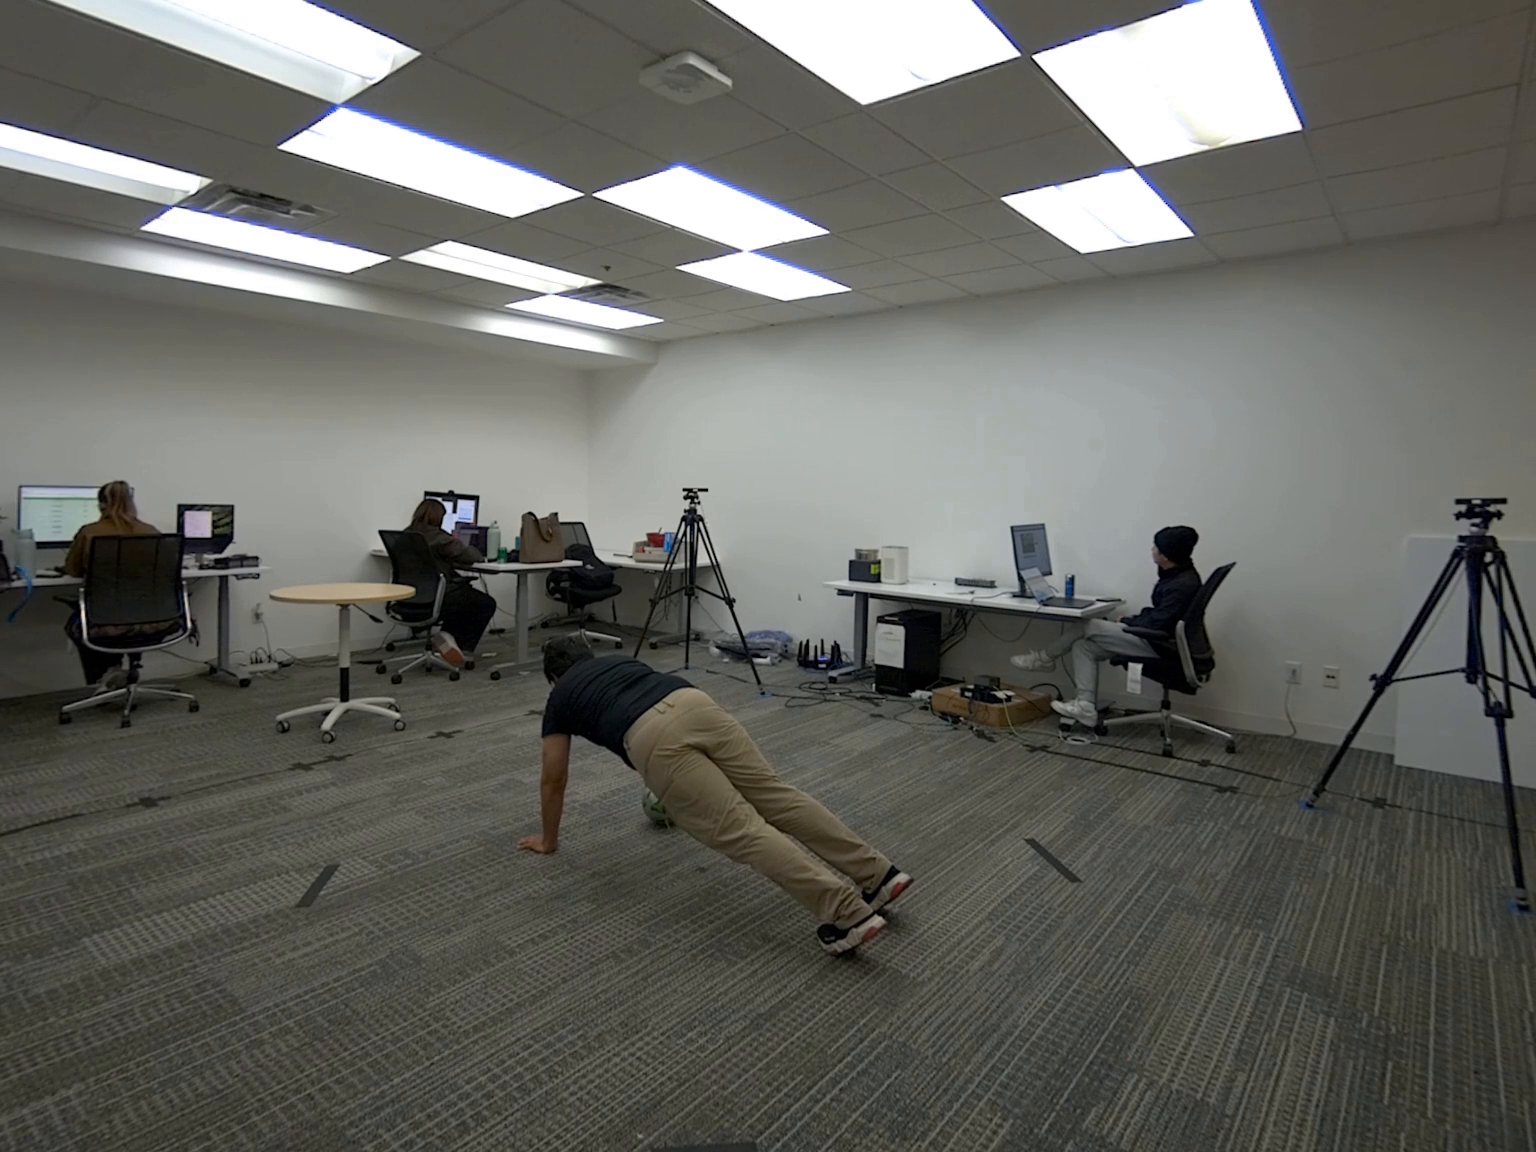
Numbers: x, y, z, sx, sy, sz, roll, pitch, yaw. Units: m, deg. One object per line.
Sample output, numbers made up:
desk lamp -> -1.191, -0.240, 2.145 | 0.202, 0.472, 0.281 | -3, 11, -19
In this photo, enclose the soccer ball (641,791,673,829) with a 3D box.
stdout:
soccer ball -> -0.447, 0.930, 3.528 | 0.187, 0.187, 0.188 | 1, 4, -2
